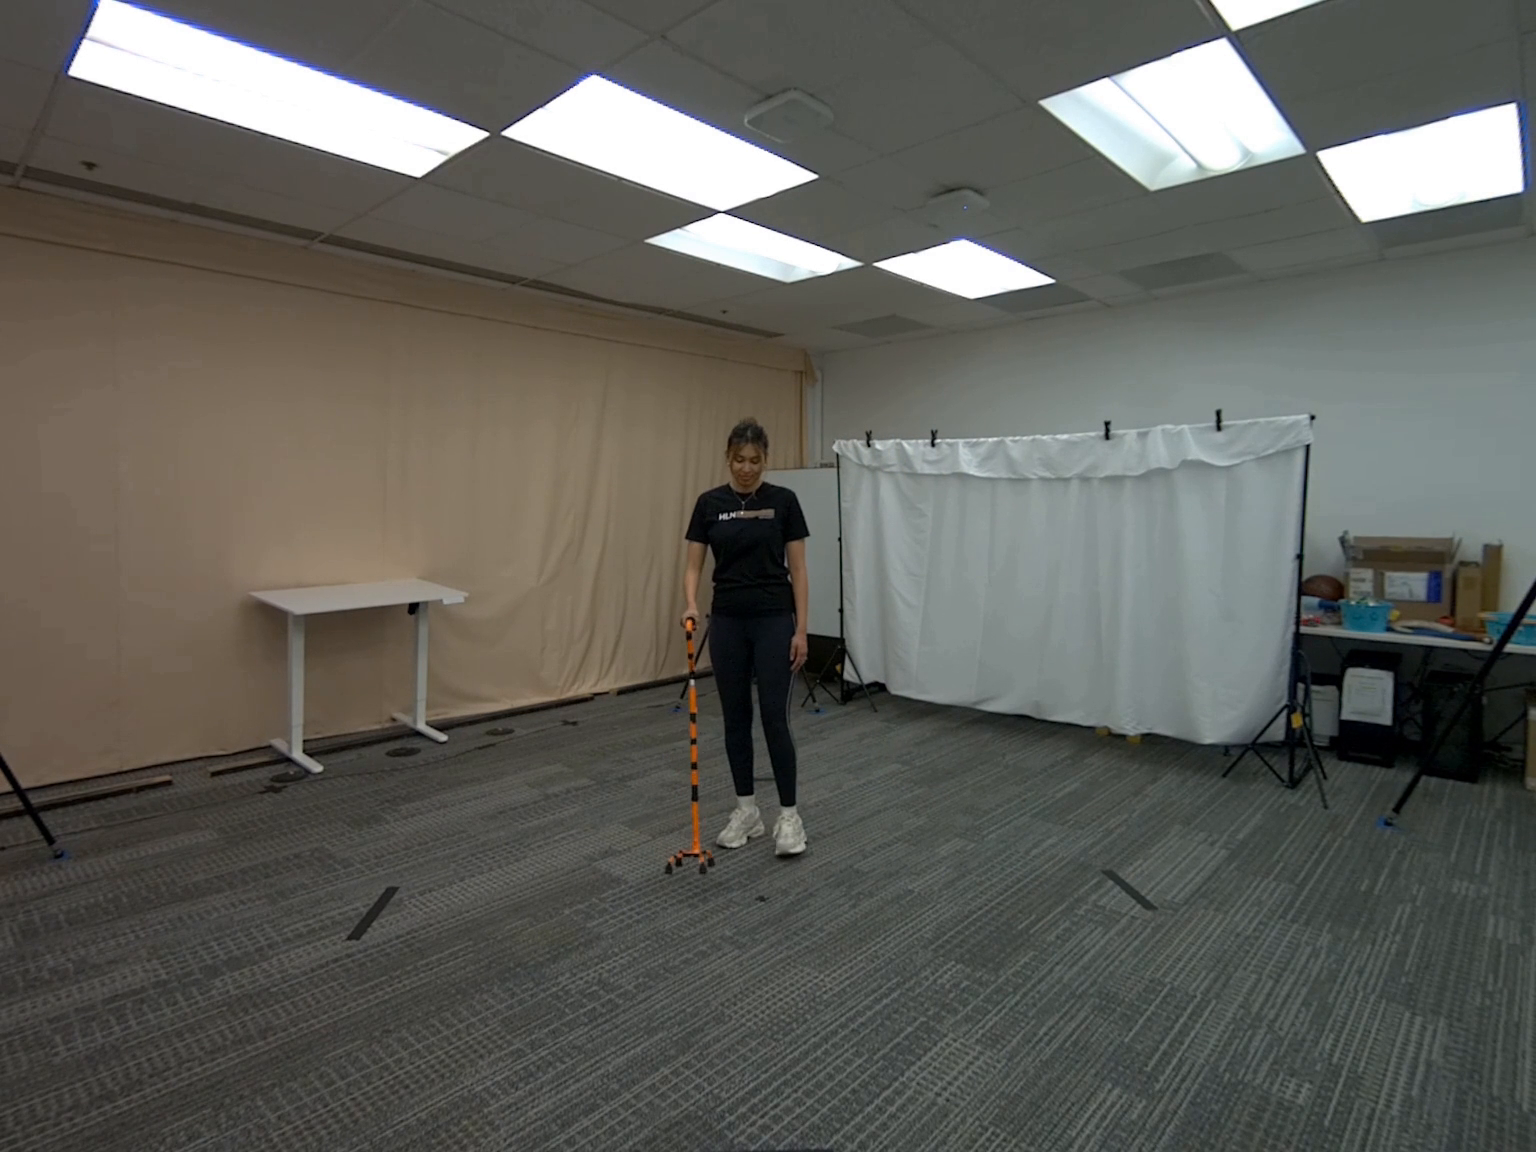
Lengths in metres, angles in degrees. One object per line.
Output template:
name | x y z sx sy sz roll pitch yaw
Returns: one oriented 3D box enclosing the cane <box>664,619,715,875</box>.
cane | -0.285 0.617 3.121 0.153 0.914 0.203 -3 -11 7
